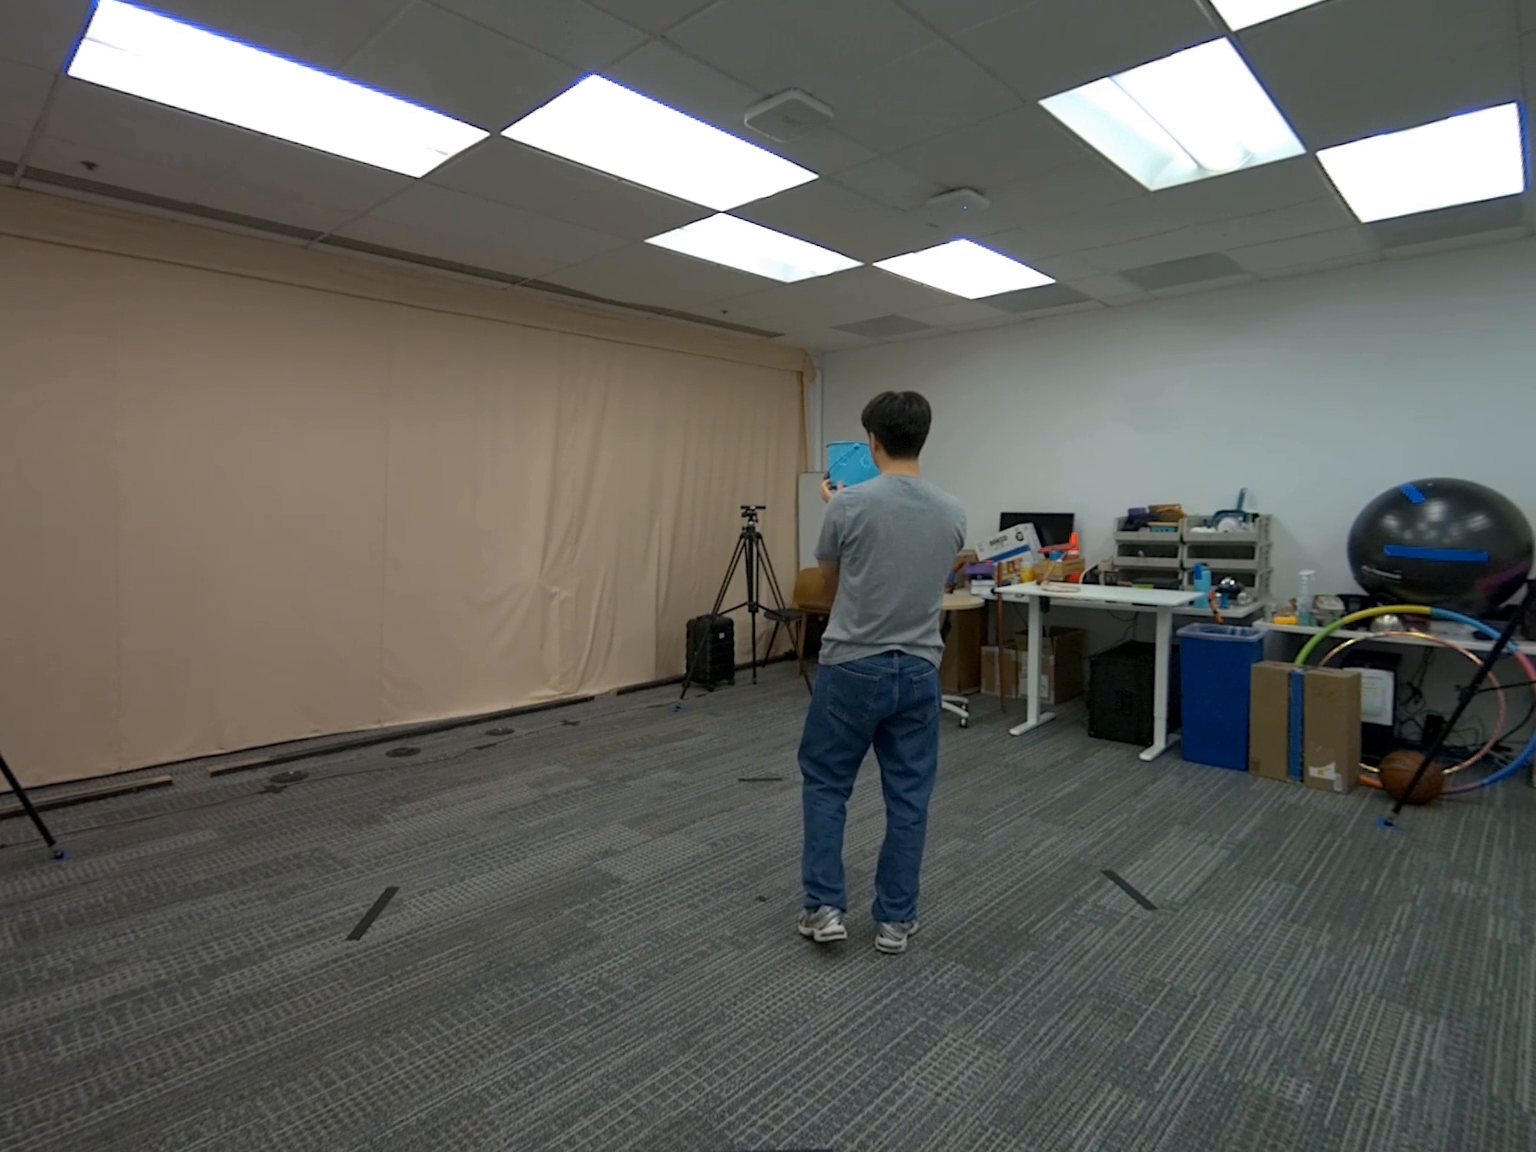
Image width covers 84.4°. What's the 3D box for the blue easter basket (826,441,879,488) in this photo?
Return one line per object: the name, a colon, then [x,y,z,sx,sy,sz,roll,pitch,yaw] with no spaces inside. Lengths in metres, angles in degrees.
blue easter basket: [0.317,-0.386,3.044,0.243,0.156,0.243,9,-2,-1]
